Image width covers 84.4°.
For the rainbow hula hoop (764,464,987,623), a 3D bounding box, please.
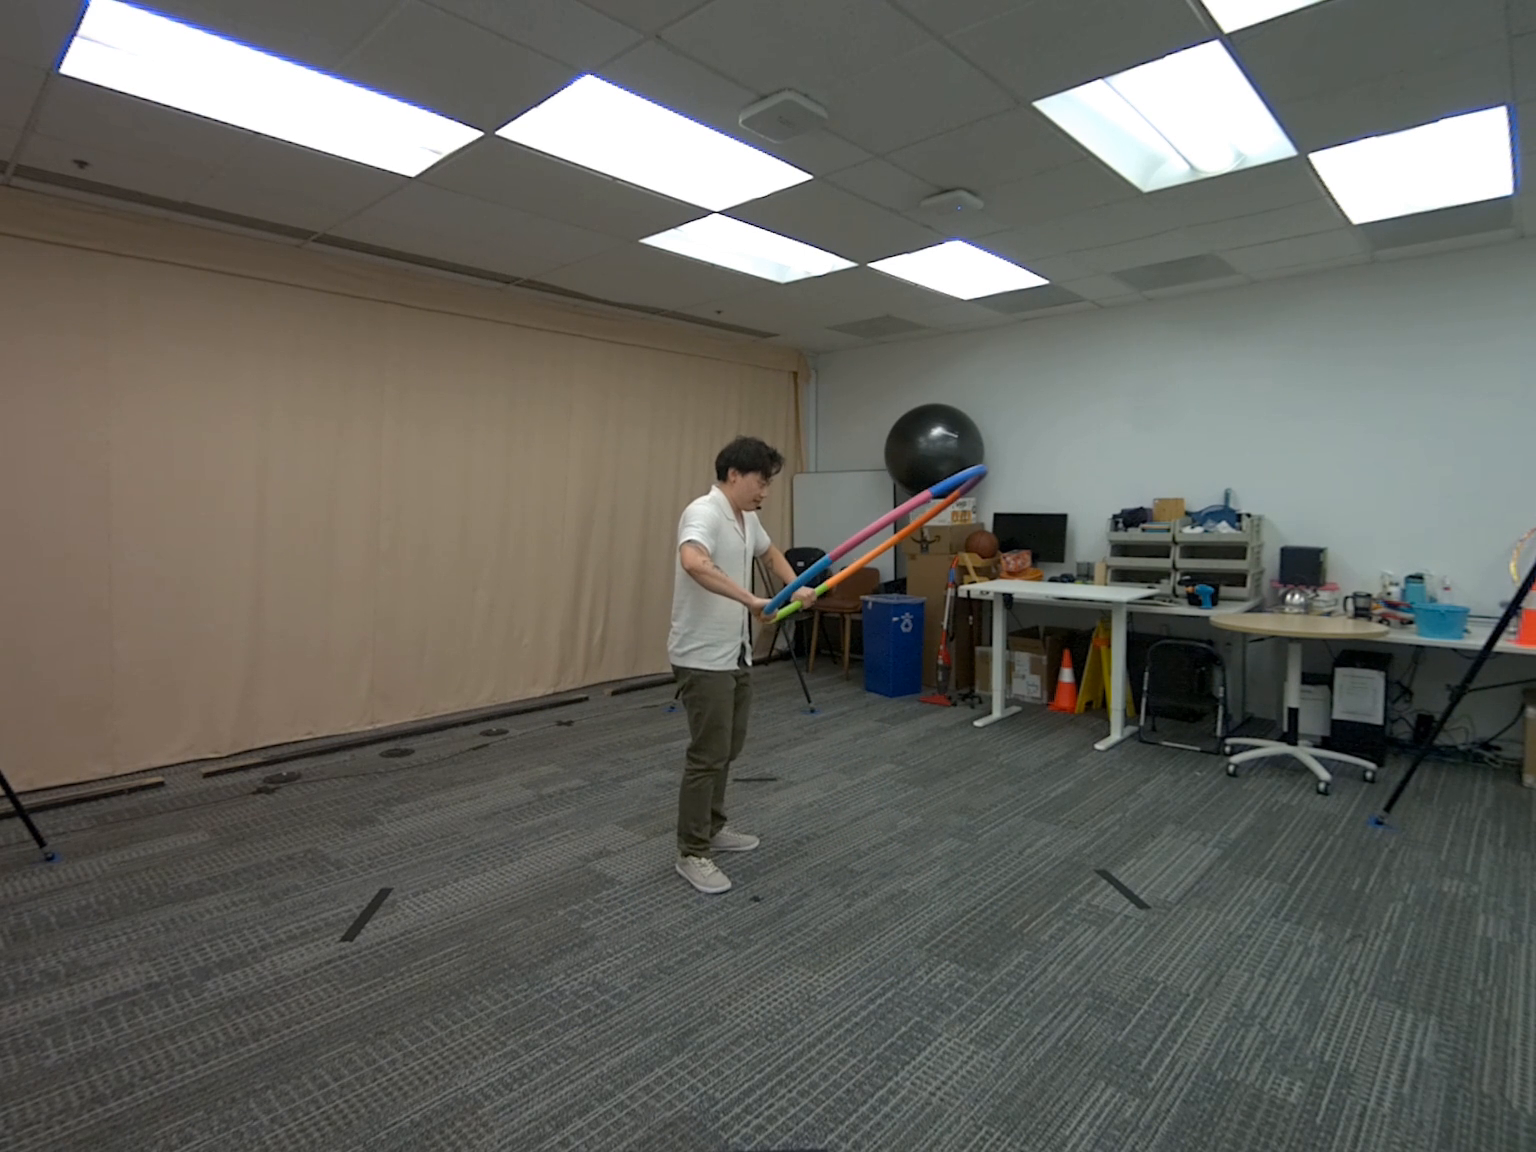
[{"bbox_3d":[0.369,-0.100,3.057,0.974,0.036,0.972,-32,-8,-9],"label":"rainbow hula hoop"}]
